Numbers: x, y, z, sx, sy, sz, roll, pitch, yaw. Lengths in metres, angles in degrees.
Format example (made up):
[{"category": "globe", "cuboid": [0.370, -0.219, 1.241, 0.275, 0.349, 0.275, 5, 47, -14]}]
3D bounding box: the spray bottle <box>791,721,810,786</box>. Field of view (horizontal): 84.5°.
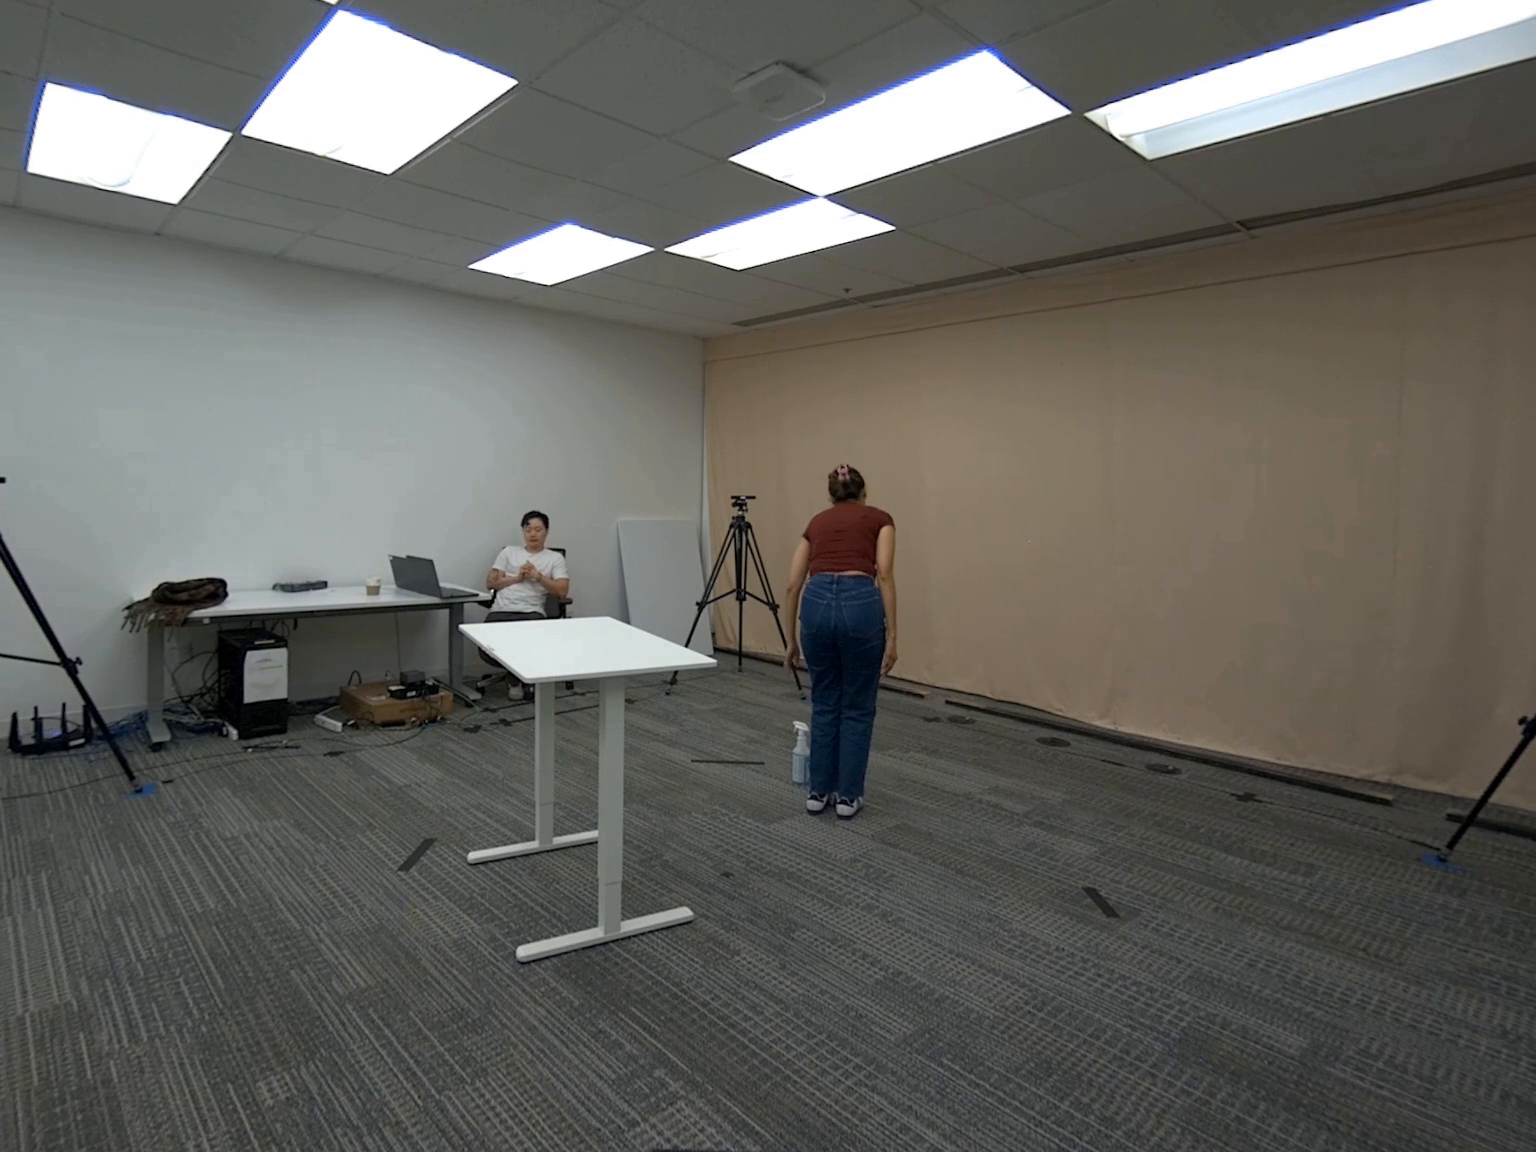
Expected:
[{"category": "spray bottle", "cuboid": [0.152, 0.874, 4.158, 0.085, 0.297, 0.092, 0, 2, -25]}]
